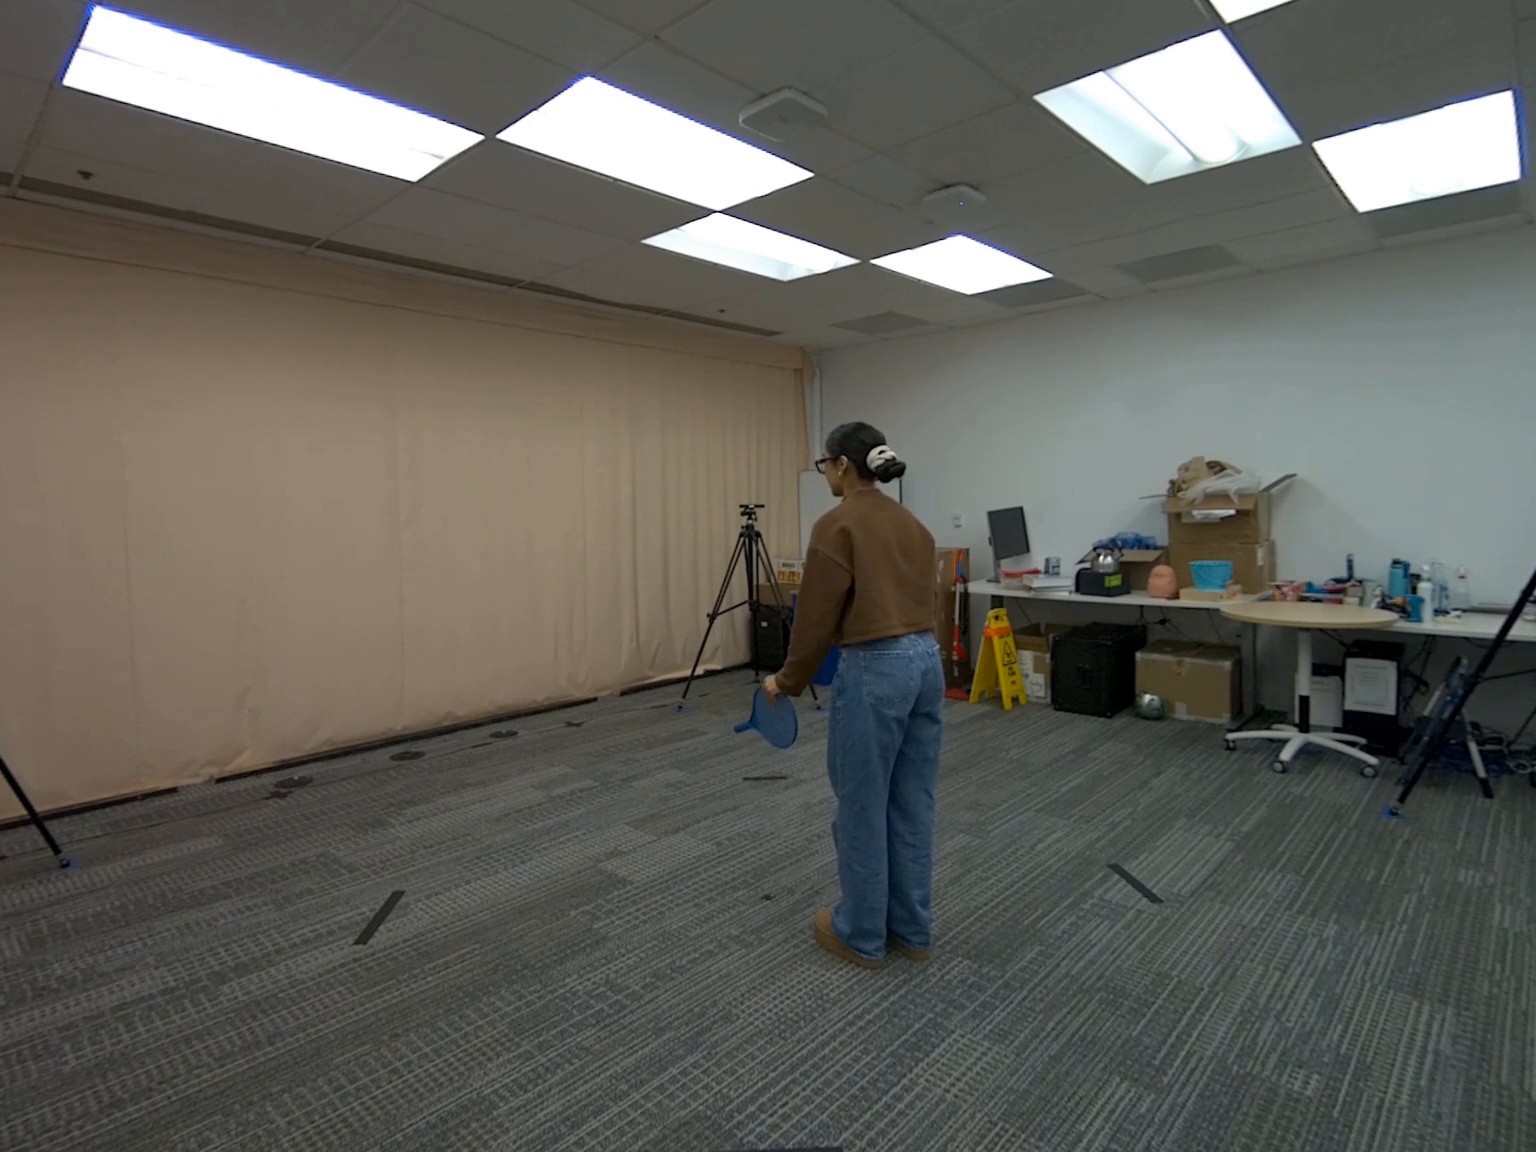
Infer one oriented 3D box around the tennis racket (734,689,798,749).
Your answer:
[{"bbox_3d":[-0.004,0.475,2.777,0.031,0.216,0.439,-13,-10,-30],"label":"tennis racket"}]
